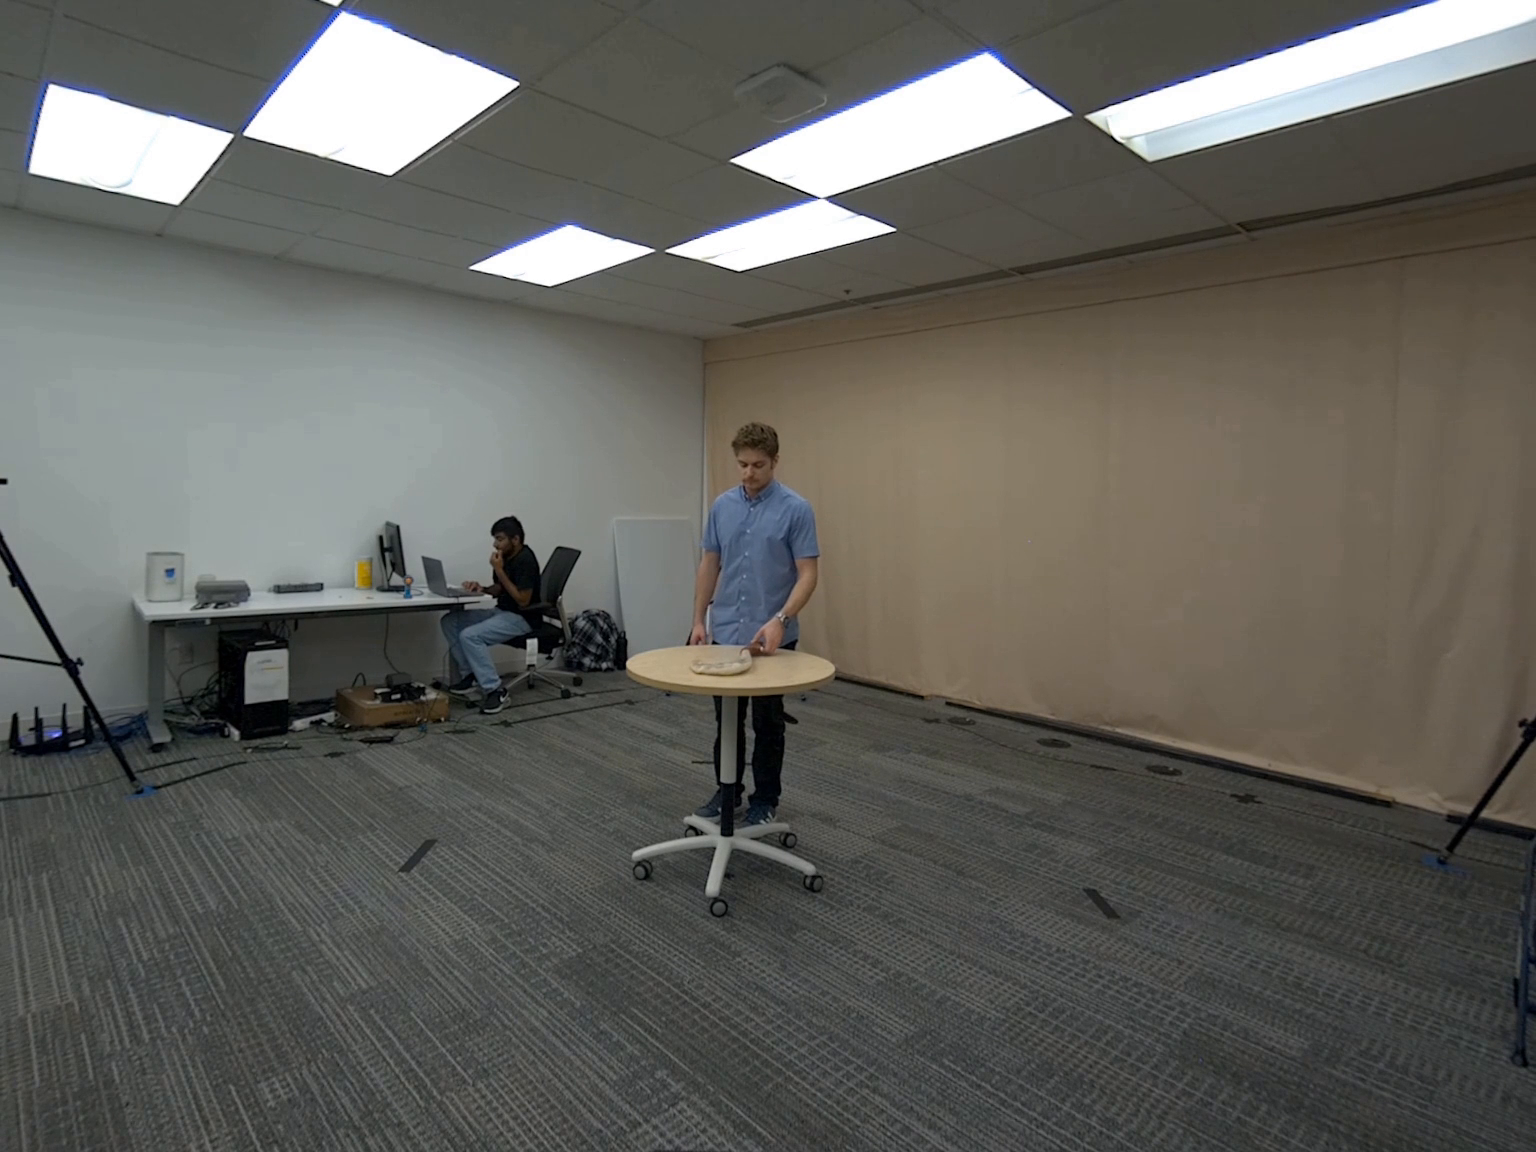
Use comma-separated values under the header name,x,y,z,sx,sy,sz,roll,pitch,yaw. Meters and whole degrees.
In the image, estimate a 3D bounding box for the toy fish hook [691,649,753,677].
name,x,y,z,sx,sy,sz,roll,pitch,yaw
toy fish hook,-0.157,0.296,3.123,0.227,0.048,0.504,8,7,10
